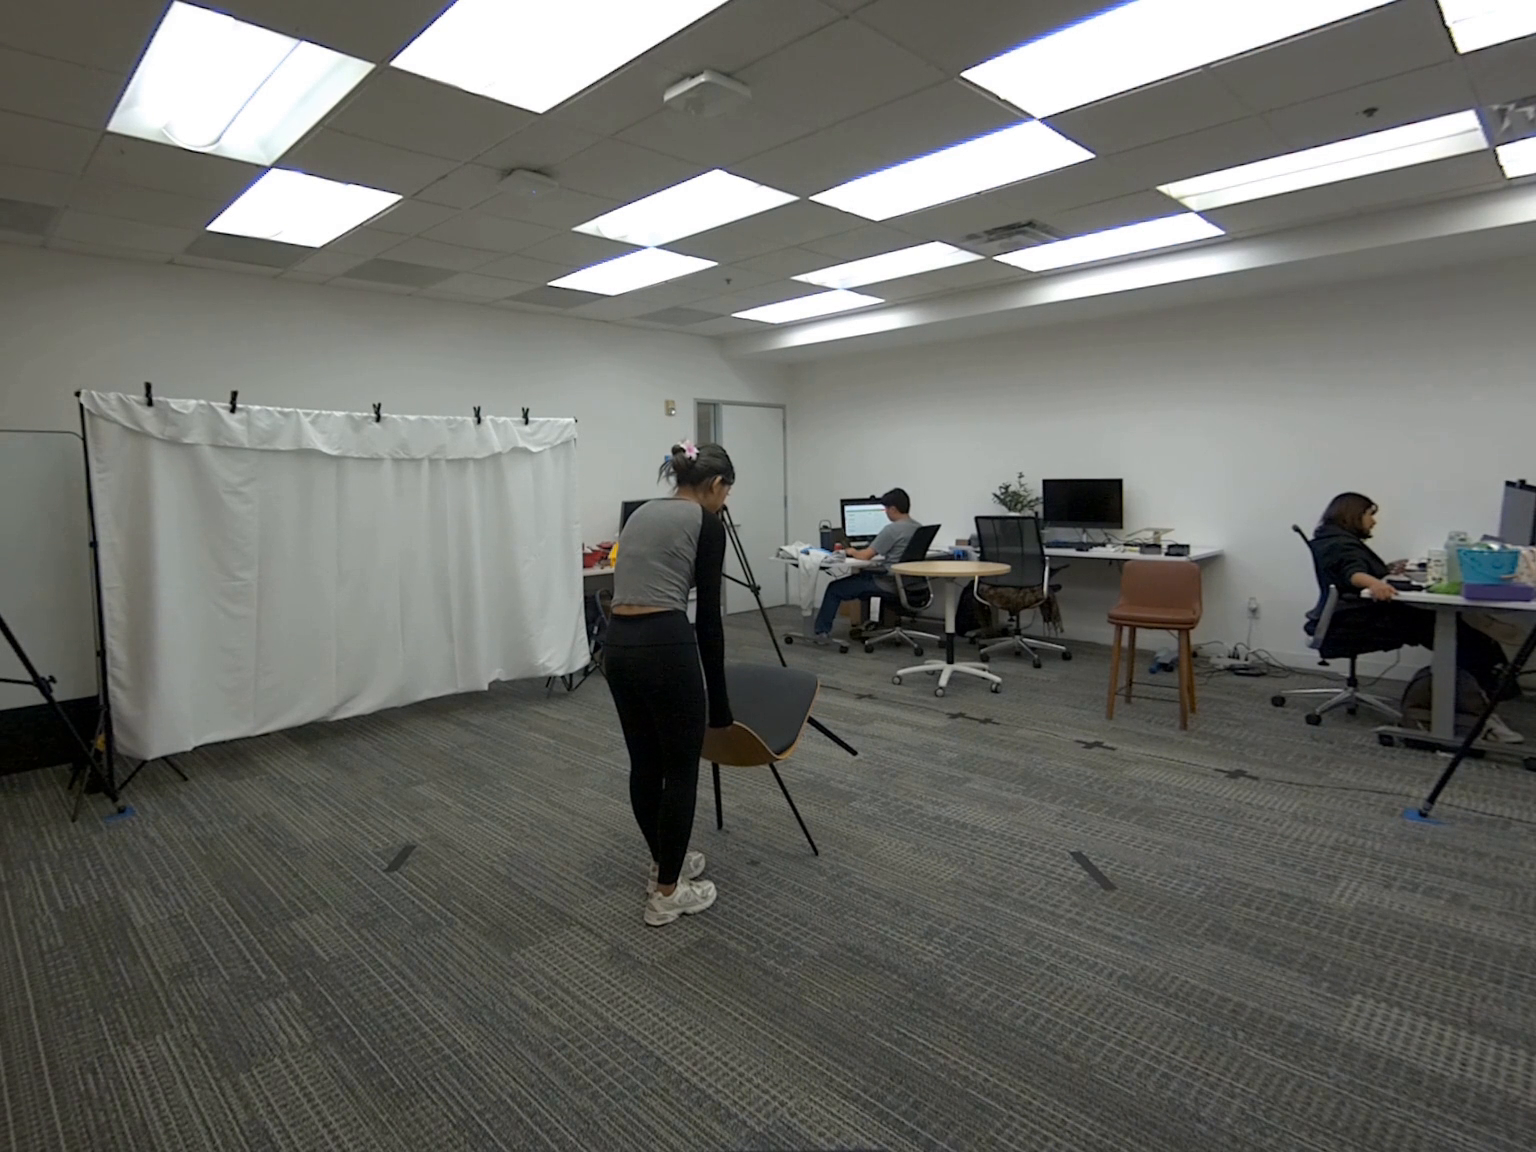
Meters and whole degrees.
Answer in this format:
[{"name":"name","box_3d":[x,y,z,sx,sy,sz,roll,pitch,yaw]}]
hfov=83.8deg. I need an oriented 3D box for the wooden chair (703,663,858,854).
[{"name":"wooden chair","box_3d":[-0.058,0.556,3.177,0.492,0.845,0.528,3,50,34]}]
